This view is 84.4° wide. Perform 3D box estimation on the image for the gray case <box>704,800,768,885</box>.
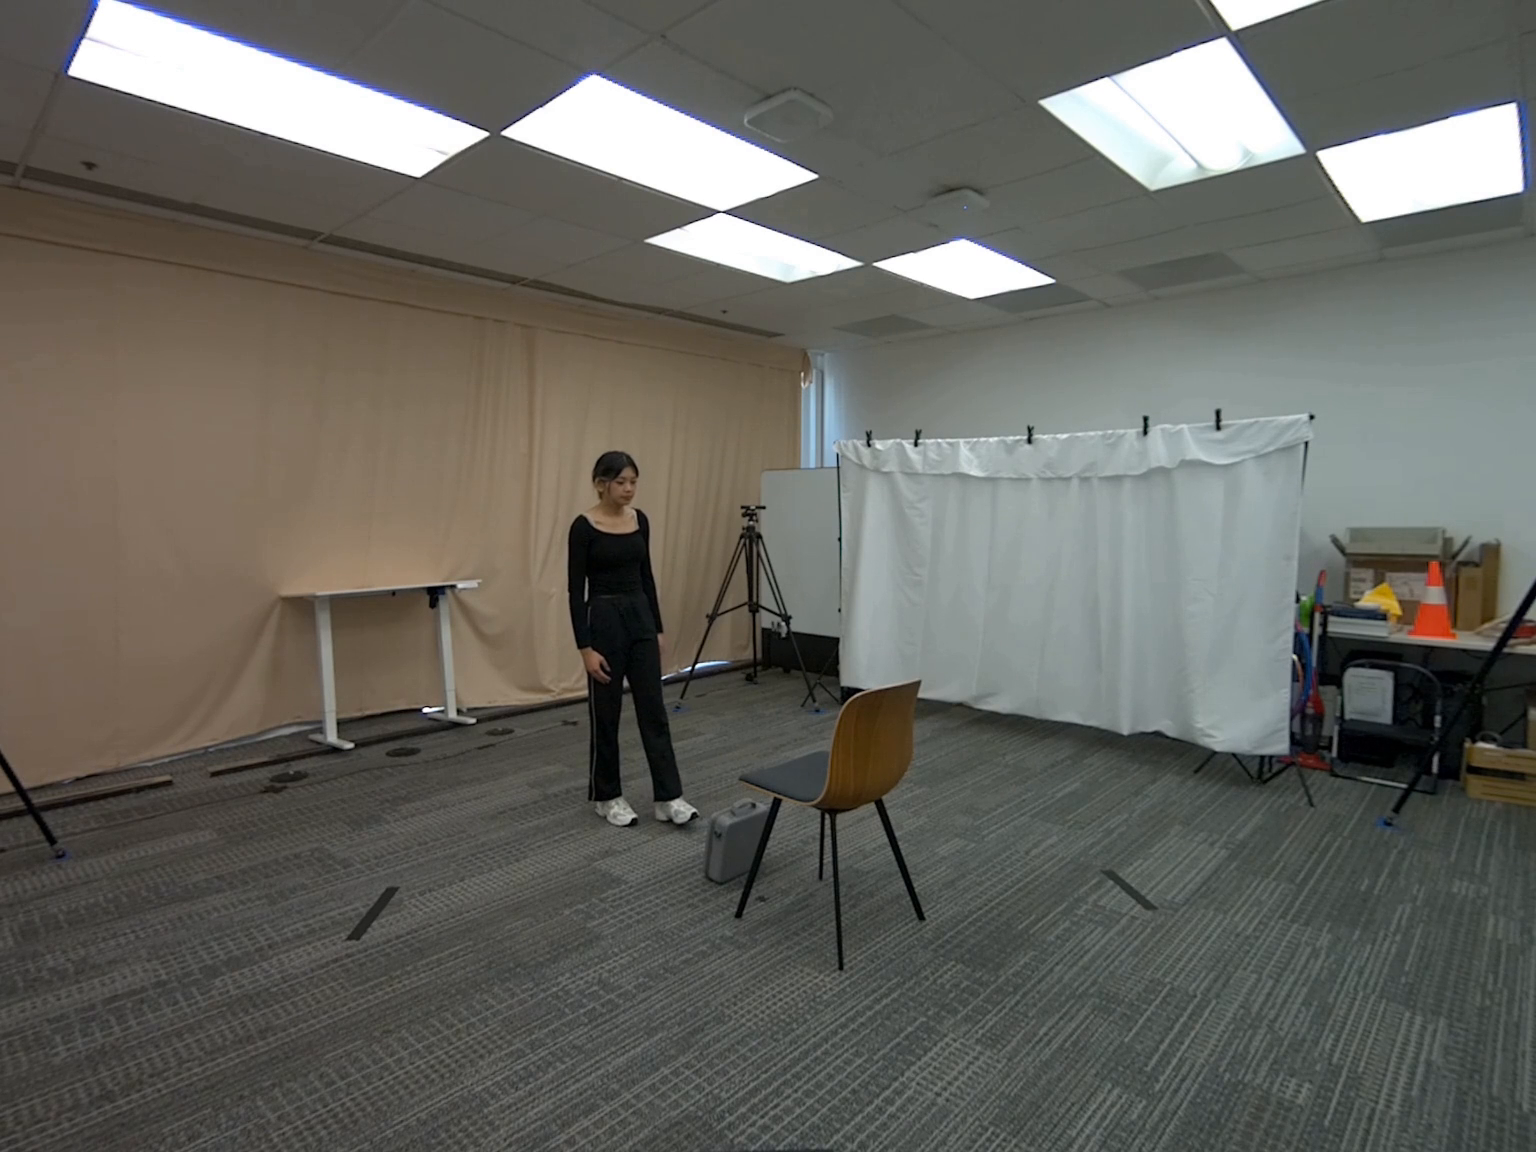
[{"bbox_3d":[-0.117,0.996,3.183,0.108,0.259,0.249,16,14,41],"label":"gray case"}]
